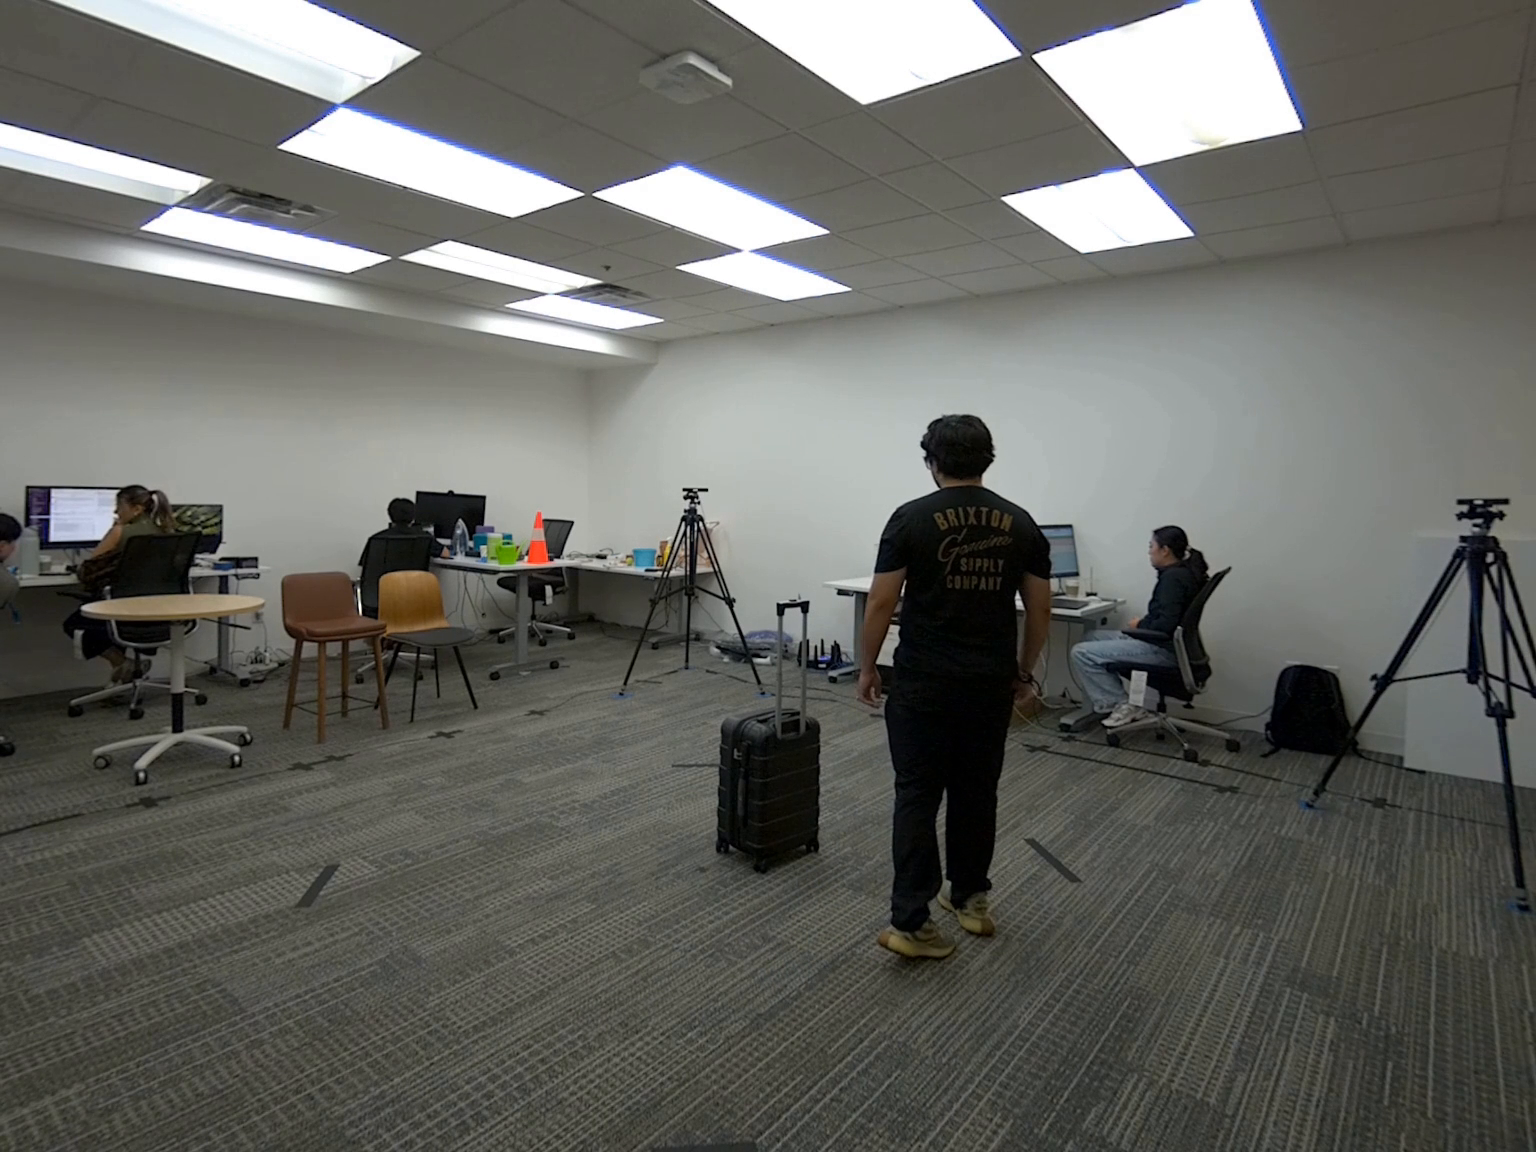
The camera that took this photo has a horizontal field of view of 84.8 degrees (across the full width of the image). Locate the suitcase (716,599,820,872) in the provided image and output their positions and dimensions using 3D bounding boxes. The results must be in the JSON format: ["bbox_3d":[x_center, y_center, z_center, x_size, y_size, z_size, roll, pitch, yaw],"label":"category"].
[{"bbox_3d":[-0.001,0.581,3.242,0.372,0.976,0.266,0,3,-41],"label":"suitcase"}]
